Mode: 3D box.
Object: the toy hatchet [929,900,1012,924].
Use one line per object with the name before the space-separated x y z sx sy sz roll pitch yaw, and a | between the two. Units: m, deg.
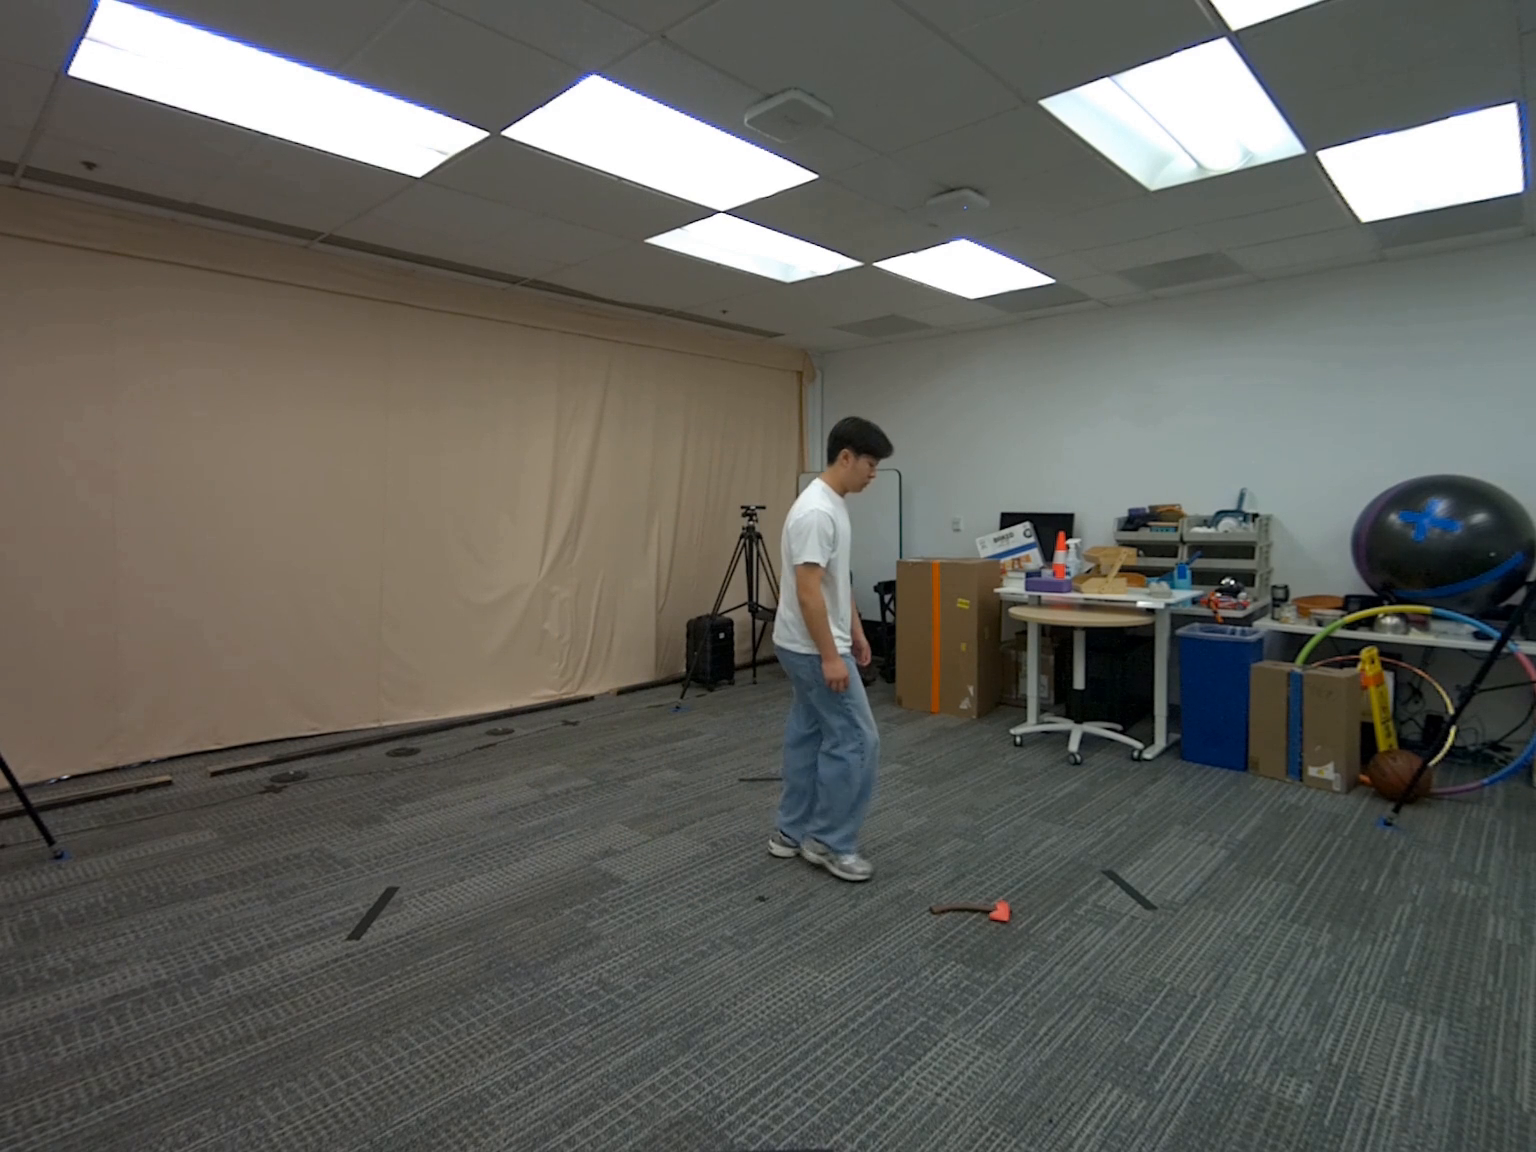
toy hatchet | 0.697 1.140 2.843 0.268 0.029 0.133 -4 9 -8
